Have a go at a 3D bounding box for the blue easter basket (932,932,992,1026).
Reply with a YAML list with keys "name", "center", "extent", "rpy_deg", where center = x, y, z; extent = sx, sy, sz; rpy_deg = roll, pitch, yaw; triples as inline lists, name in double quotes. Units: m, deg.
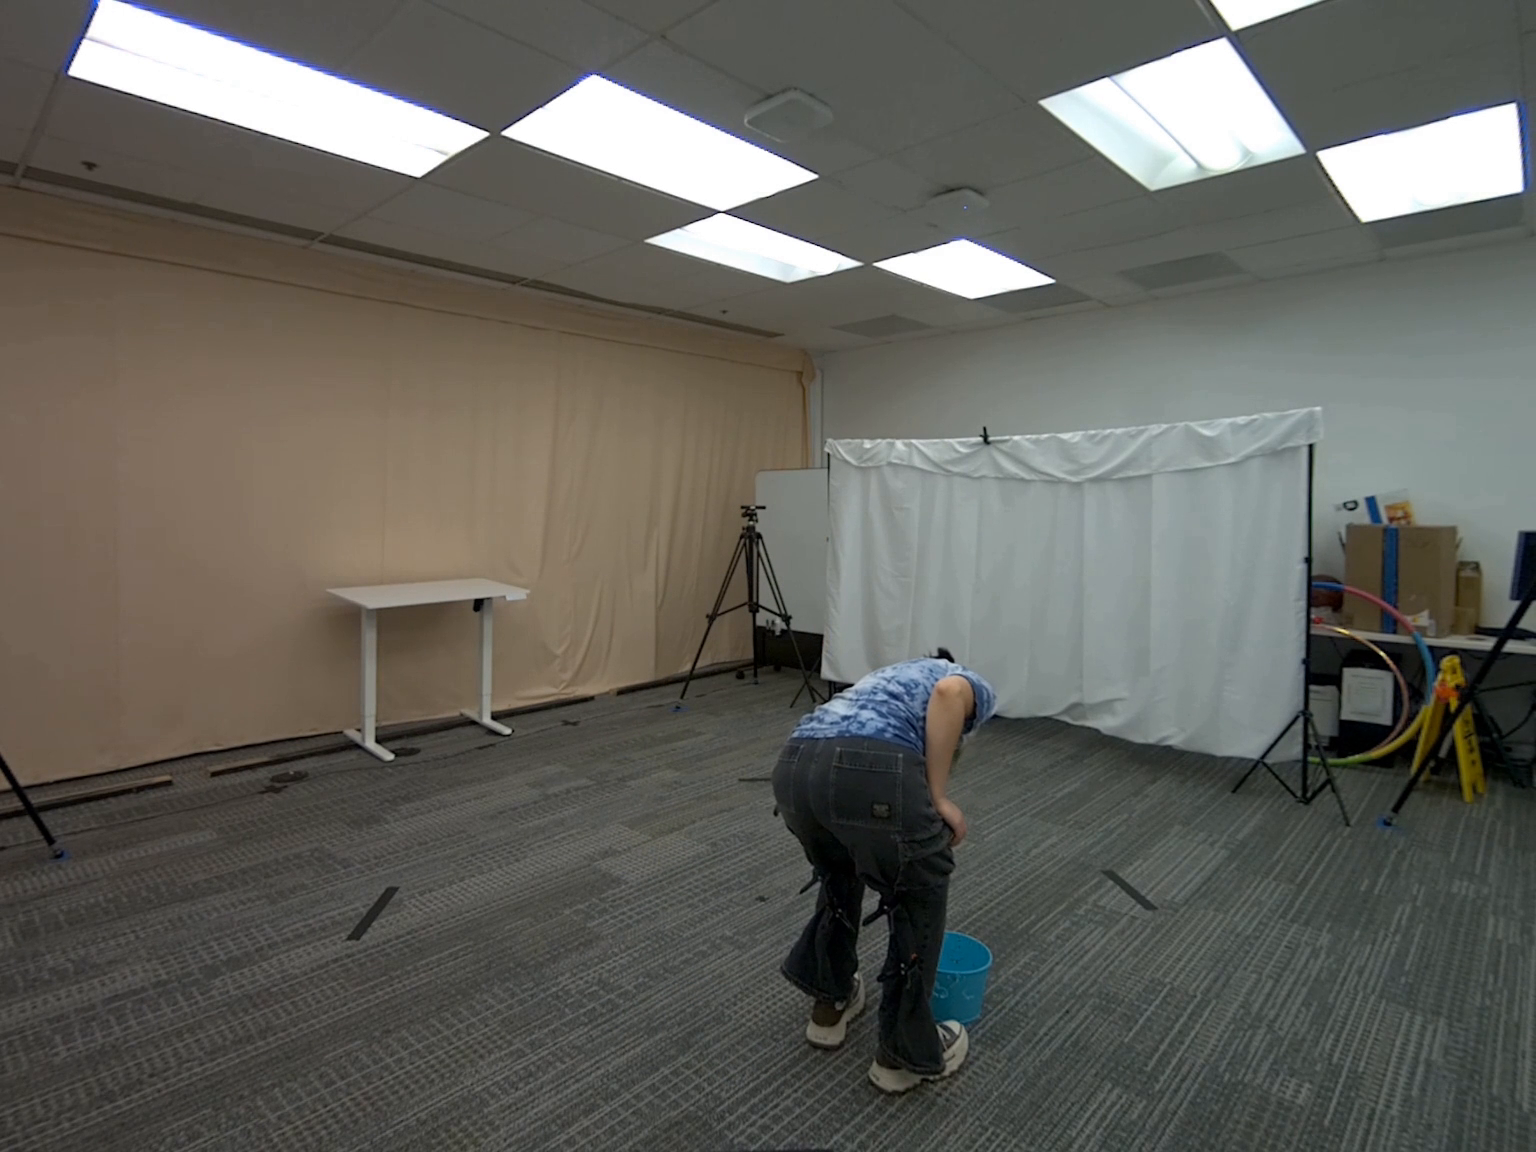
- name: "blue easter basket"
  center: [0.507, 1.120, 2.348]
  extent: [0.243, 0.155, 0.244]
  rpy_deg: [0, 3, -2]
